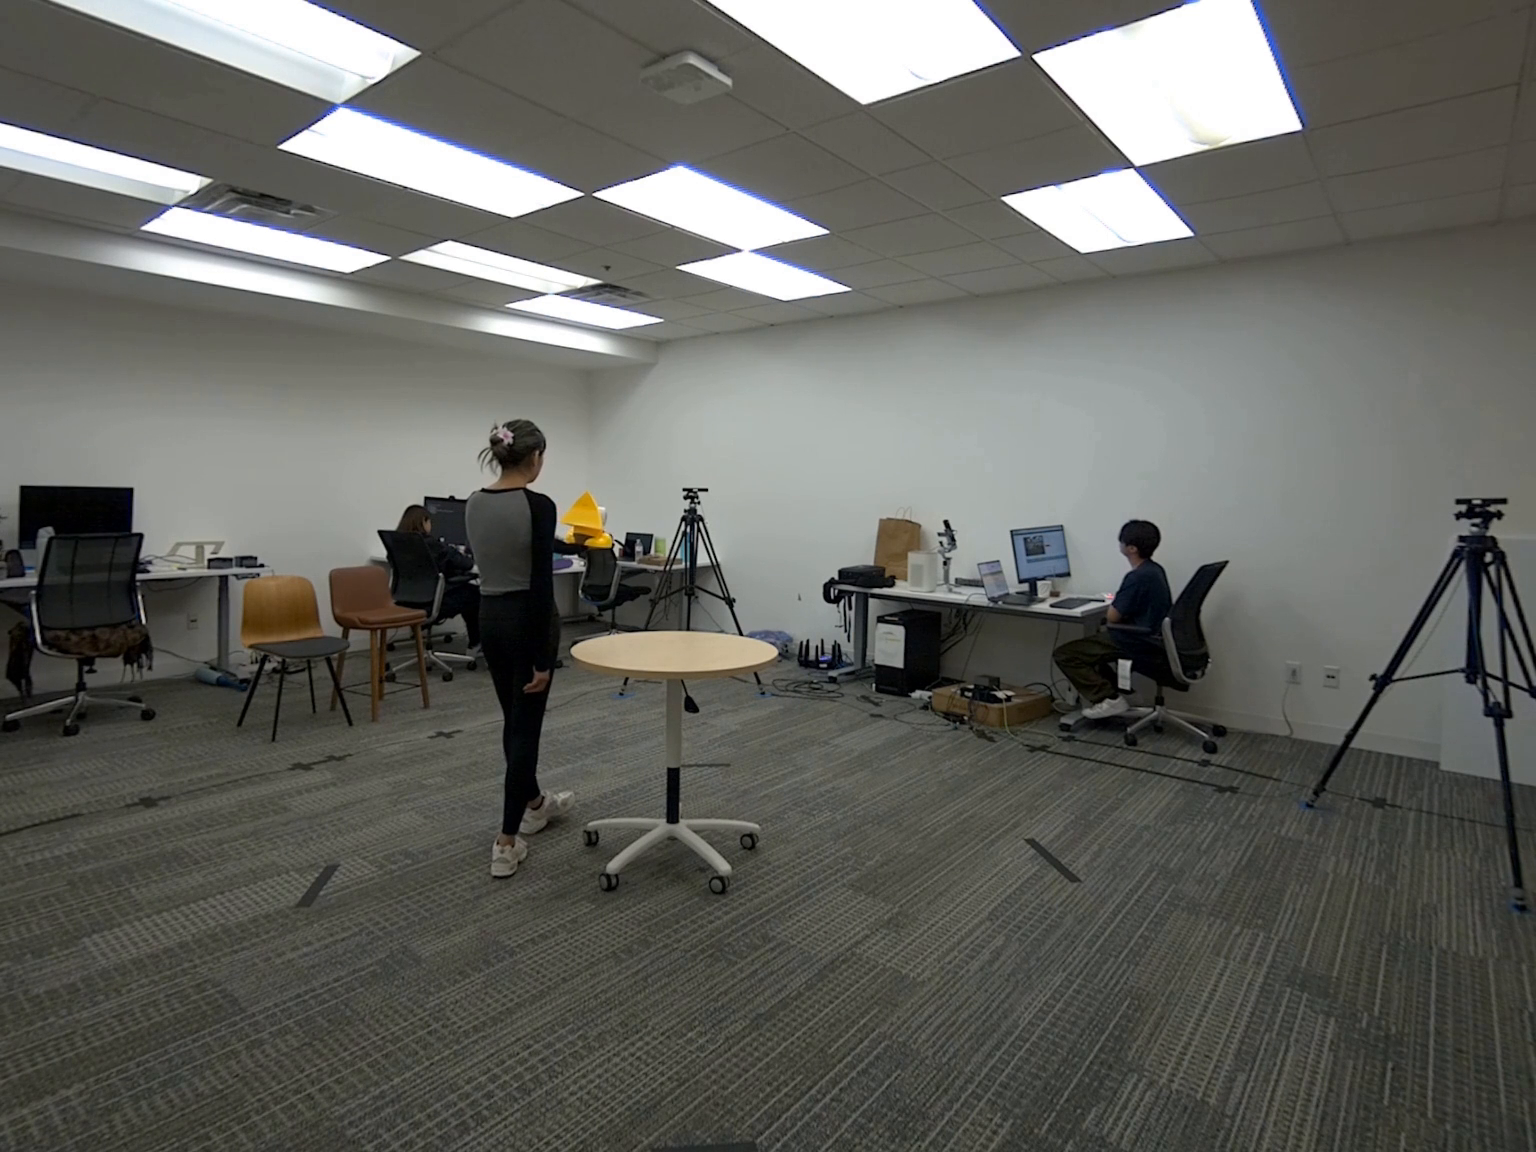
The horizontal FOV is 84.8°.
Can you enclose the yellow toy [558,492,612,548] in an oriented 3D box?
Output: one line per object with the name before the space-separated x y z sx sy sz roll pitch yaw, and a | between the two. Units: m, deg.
yellow toy | -0.775 -0.255 3.657 0.209 0.230 0.189 8 4 18
